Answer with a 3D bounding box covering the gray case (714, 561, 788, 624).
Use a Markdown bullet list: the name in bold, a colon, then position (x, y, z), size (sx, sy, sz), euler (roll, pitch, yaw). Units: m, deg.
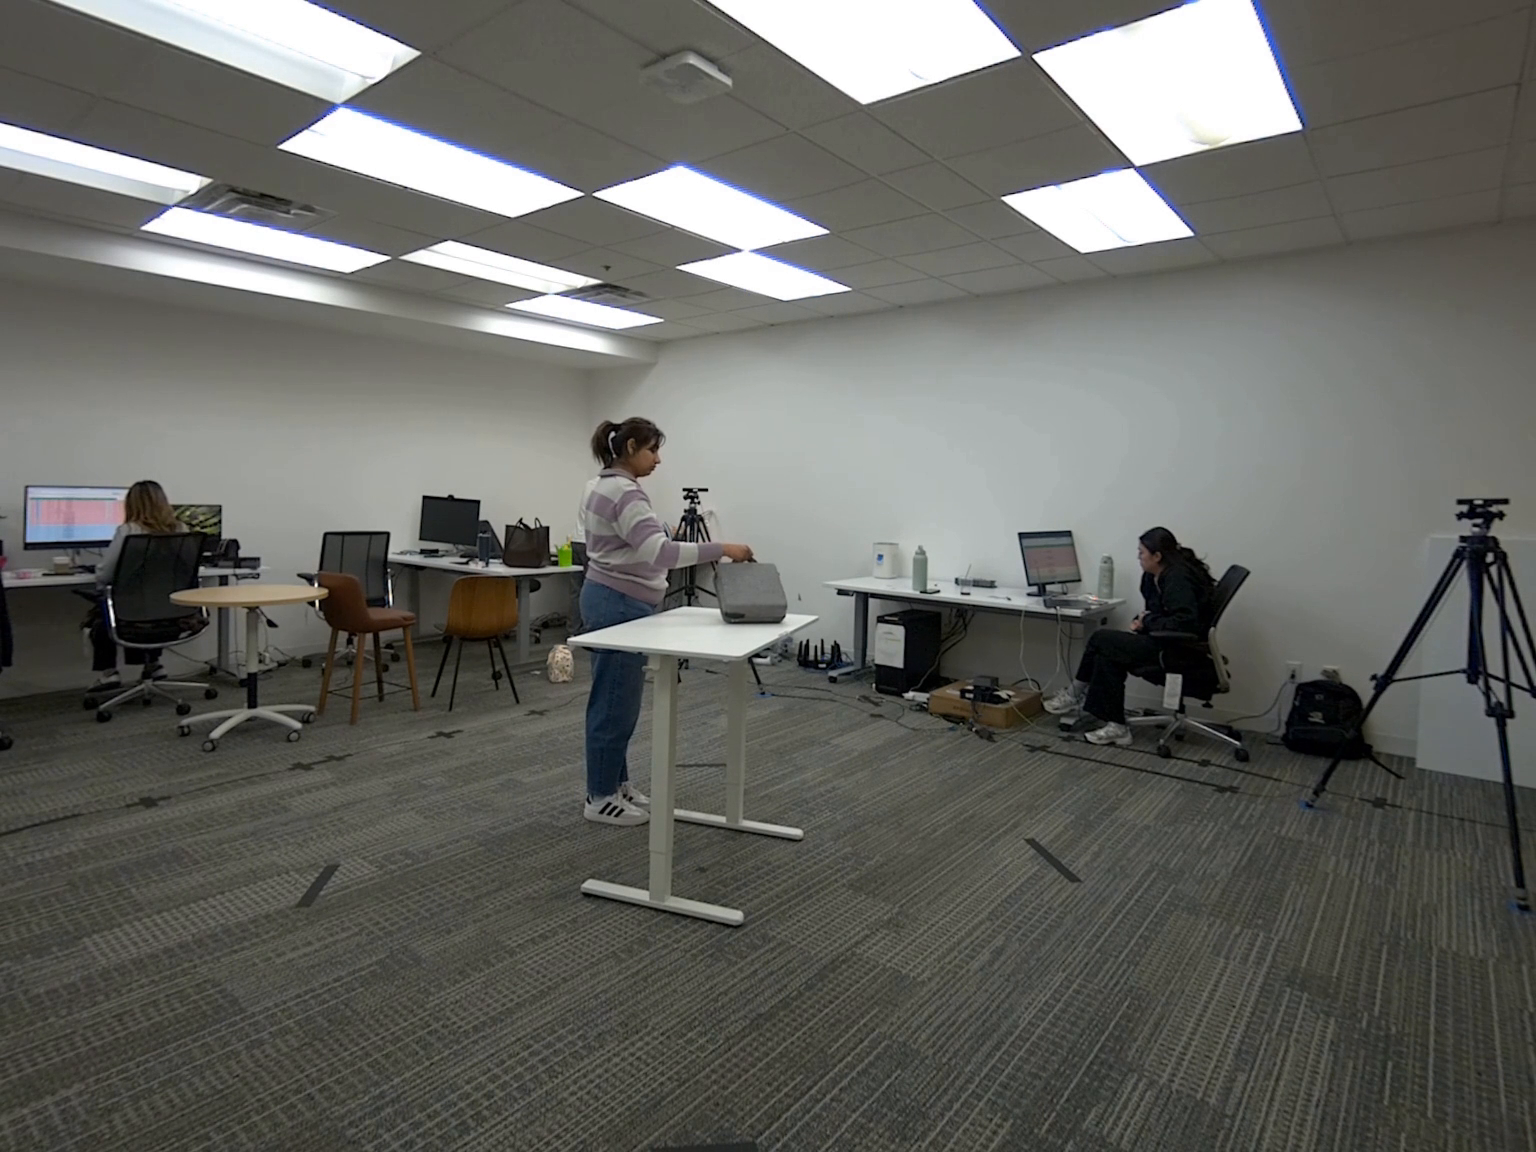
- **gray case**: position (-0.073, 0.061, 3.303), size (0.253, 0.102, 0.270), euler (0, 45, -14)
